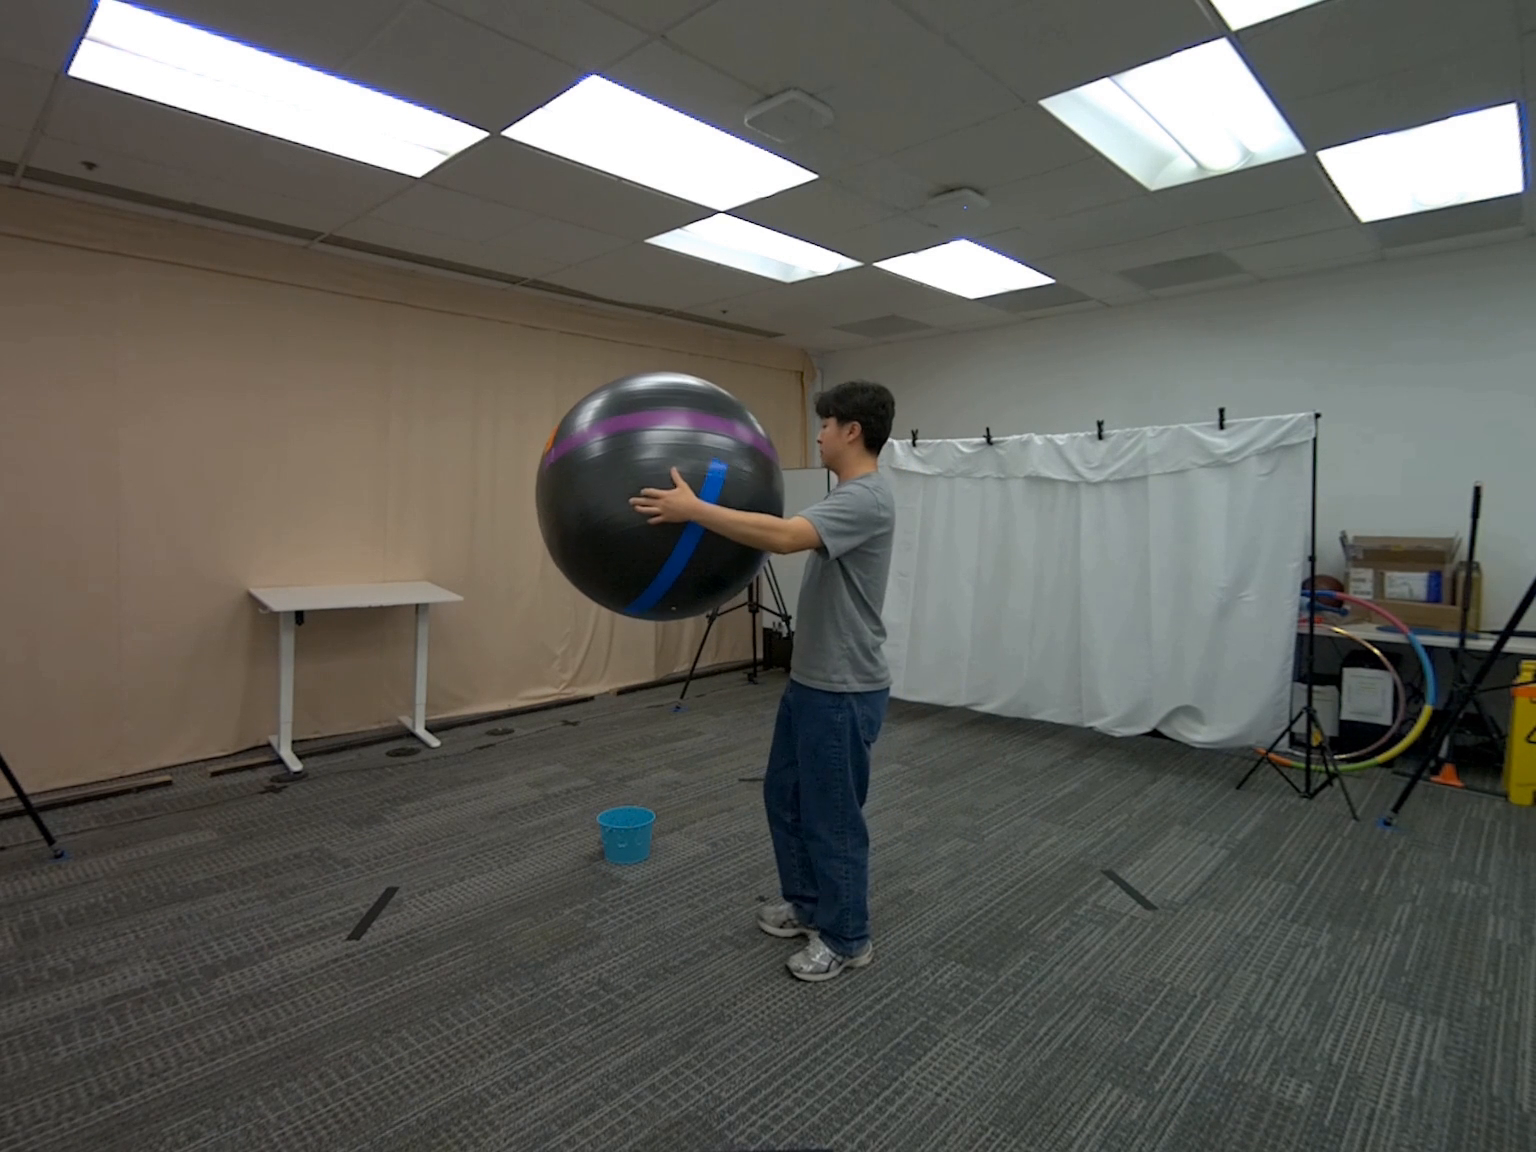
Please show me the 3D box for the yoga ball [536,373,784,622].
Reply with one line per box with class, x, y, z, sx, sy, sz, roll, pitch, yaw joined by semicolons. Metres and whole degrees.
yoga ball;-0.334;-0.233;2.597;0.757;0.756;0.761;0;4;-2
